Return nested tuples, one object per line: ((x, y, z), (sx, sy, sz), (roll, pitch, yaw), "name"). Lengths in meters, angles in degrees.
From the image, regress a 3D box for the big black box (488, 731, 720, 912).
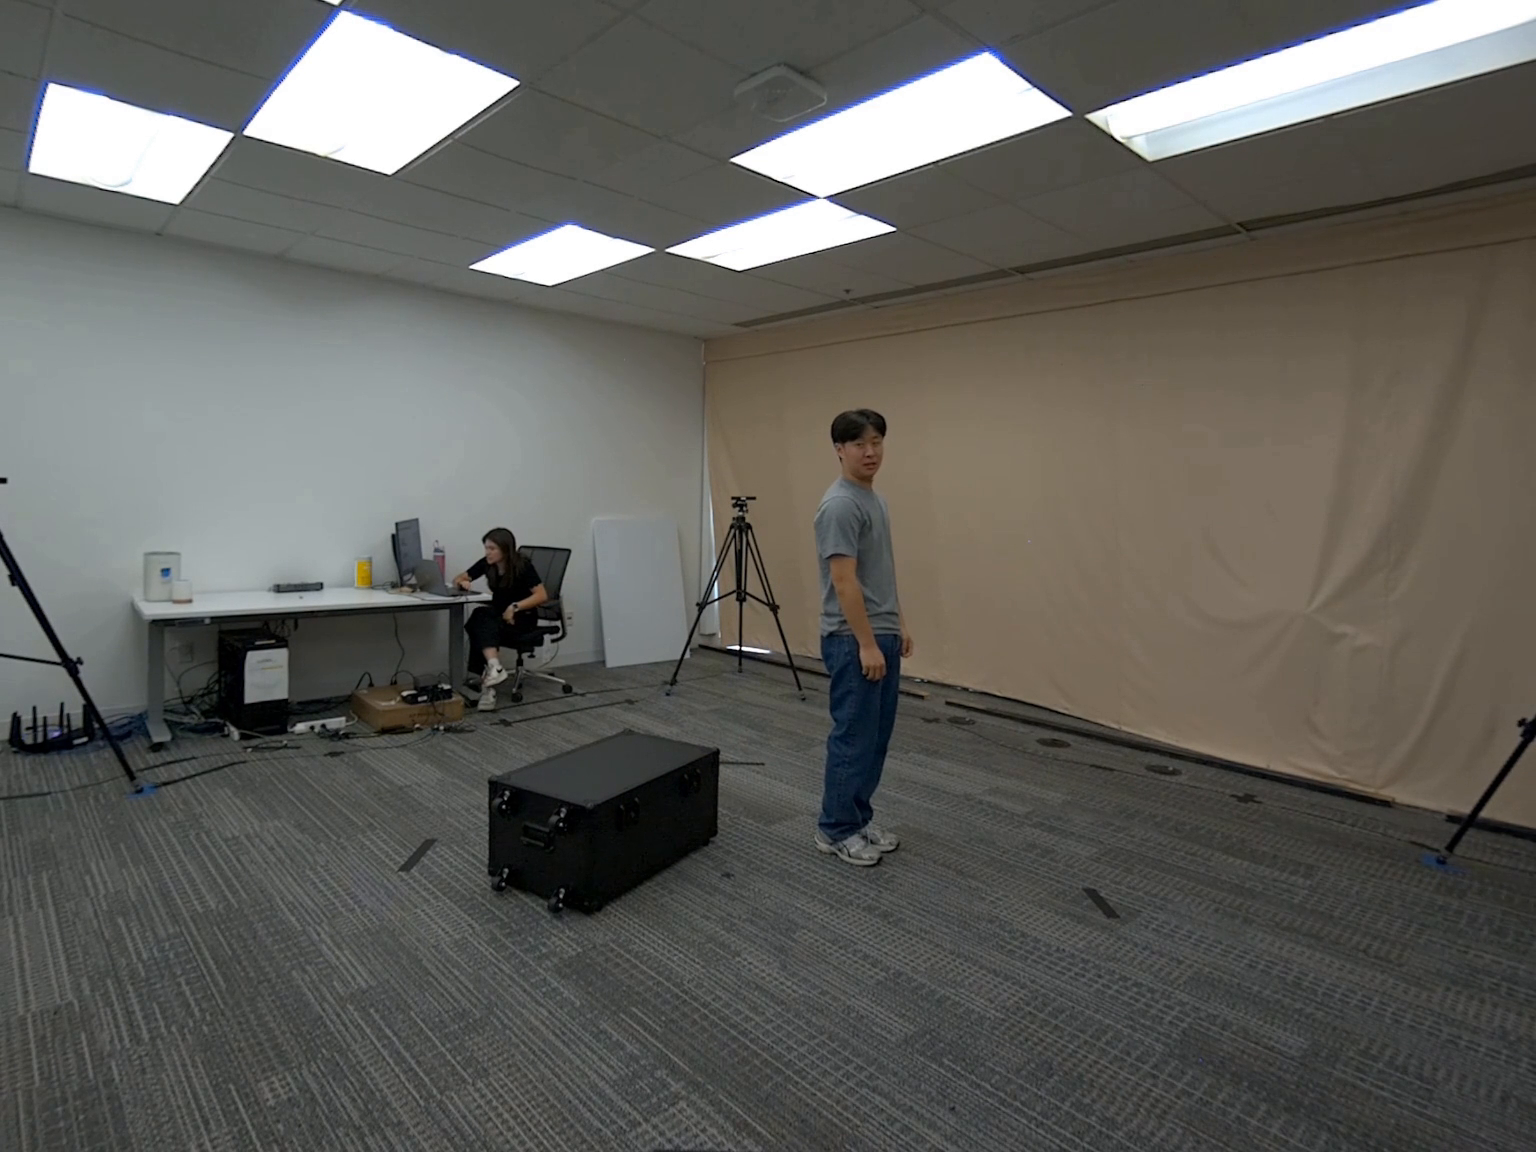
((-0.624, 0.899, 3.176), (0.533, 0.395, 0.845), (5, 6, 30), "big black box")
